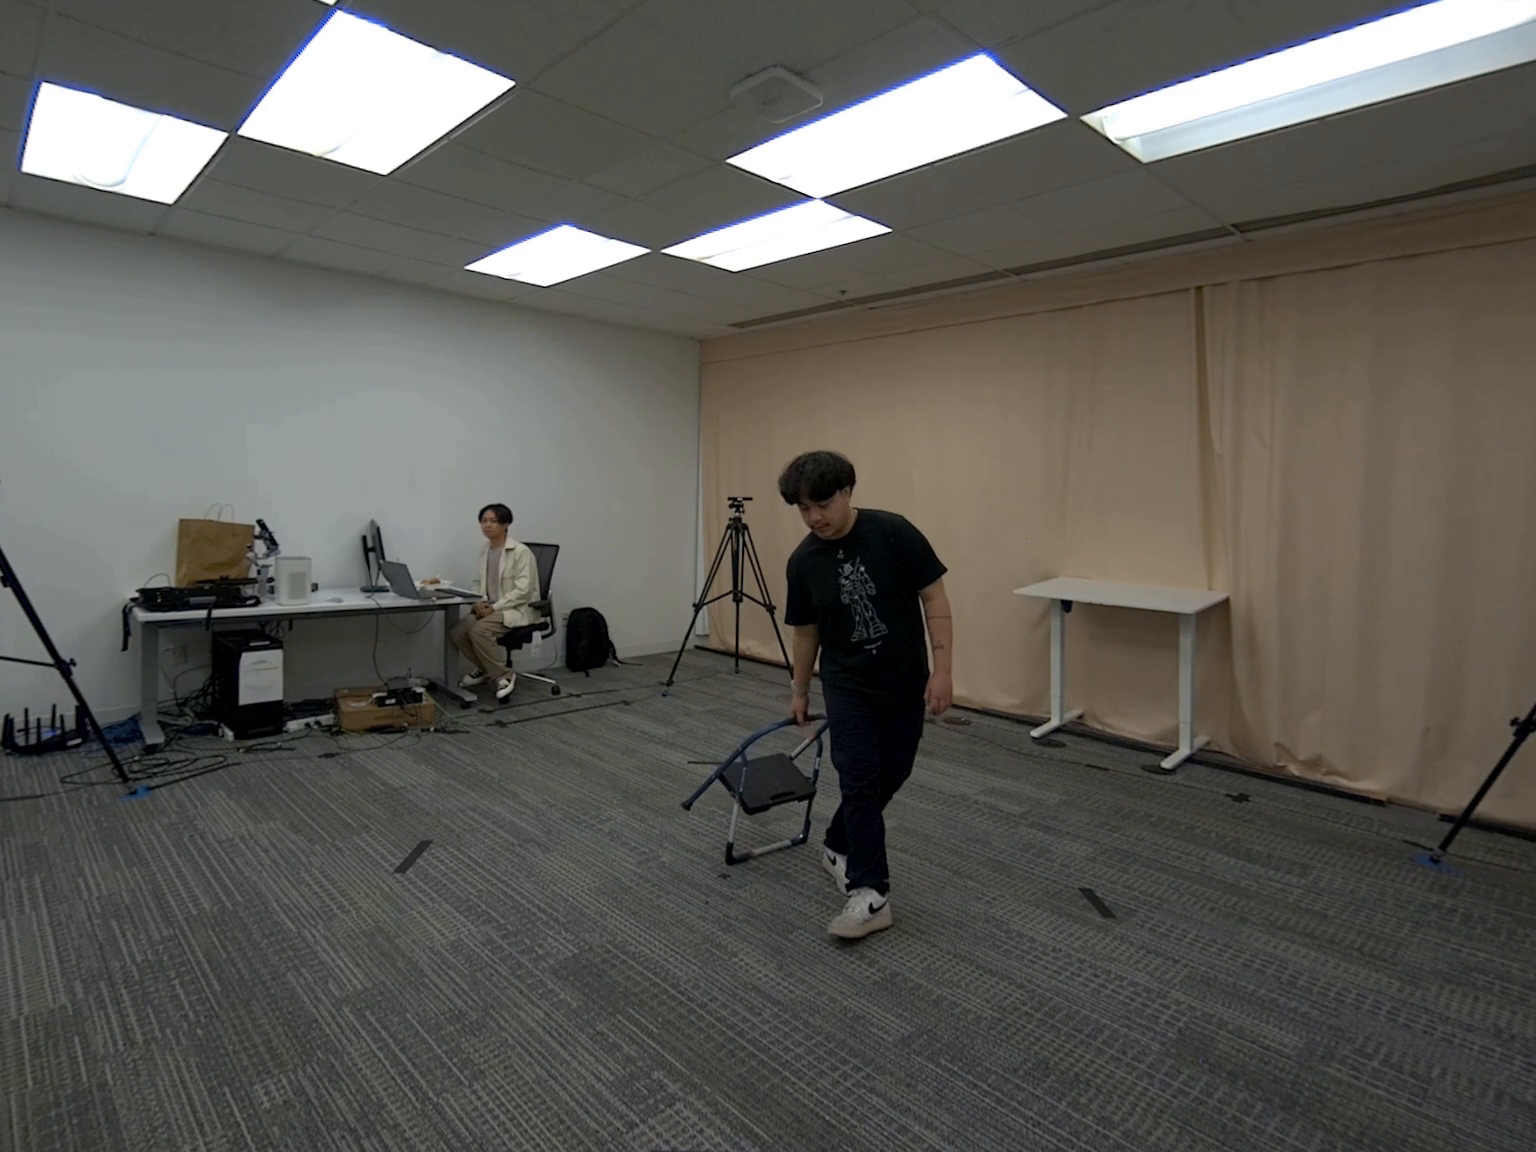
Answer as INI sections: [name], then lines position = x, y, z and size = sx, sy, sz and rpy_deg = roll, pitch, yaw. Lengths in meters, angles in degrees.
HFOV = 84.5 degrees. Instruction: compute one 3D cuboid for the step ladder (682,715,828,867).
[step ladder]
position = -0.011, 0.748, 3.311
size = 0.421, 0.600, 0.360
rpy_deg = -2, 32, -40
